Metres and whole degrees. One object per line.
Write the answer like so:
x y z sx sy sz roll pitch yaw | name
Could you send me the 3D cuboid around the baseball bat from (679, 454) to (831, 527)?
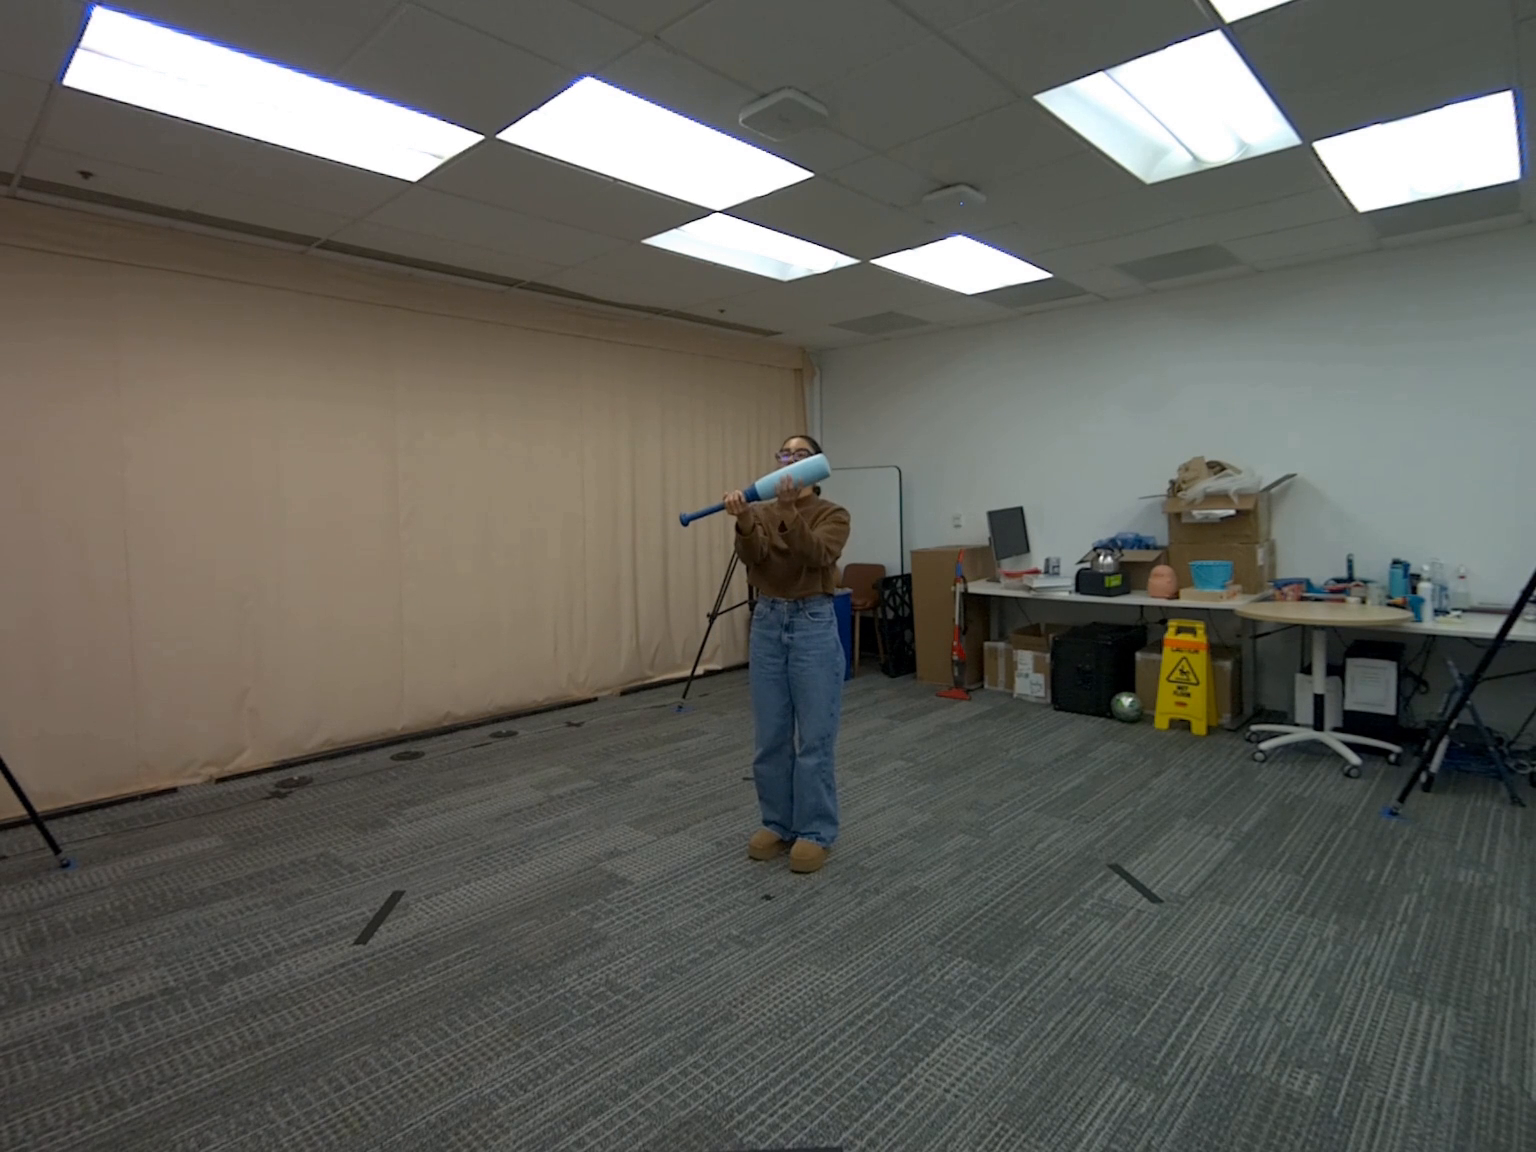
-0.040 -0.282 2.853 0.549 0.089 0.088 -21 0 13 | baseball bat
